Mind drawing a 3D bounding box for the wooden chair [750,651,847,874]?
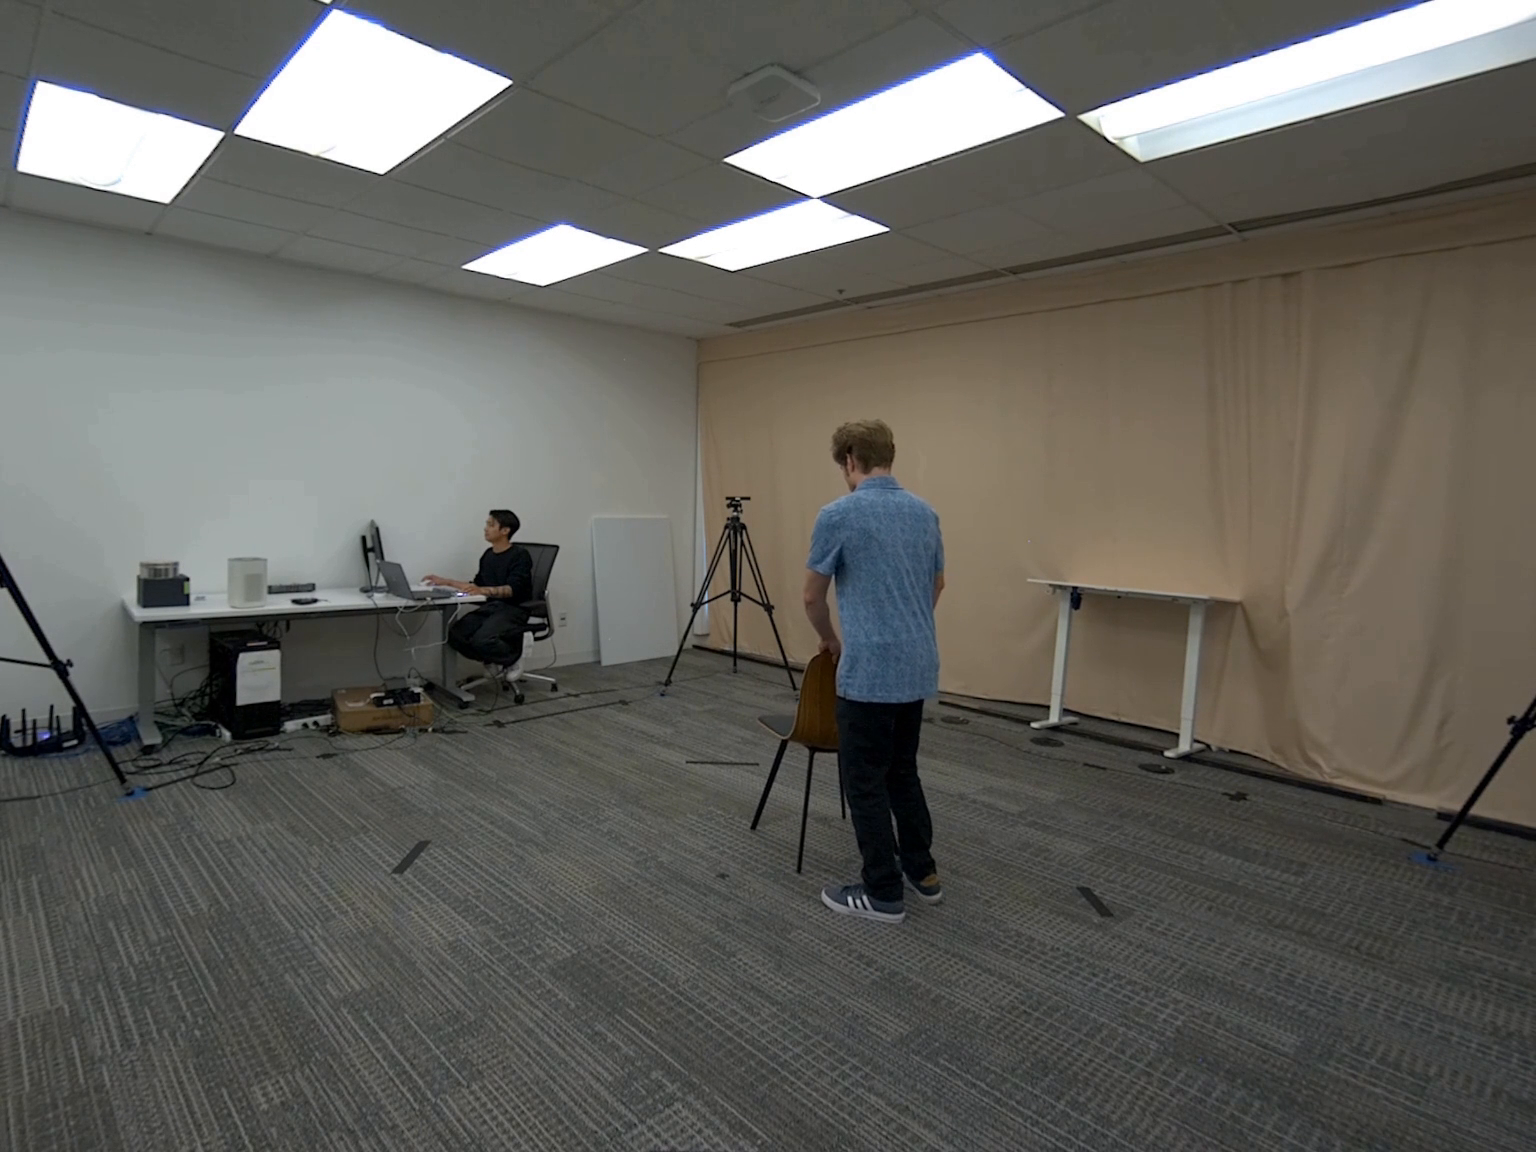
[{"bbox_3d":[0.227,0.660,3.402,0.470,0.873,0.534,0,8,-23],"label":"wooden chair"}]
